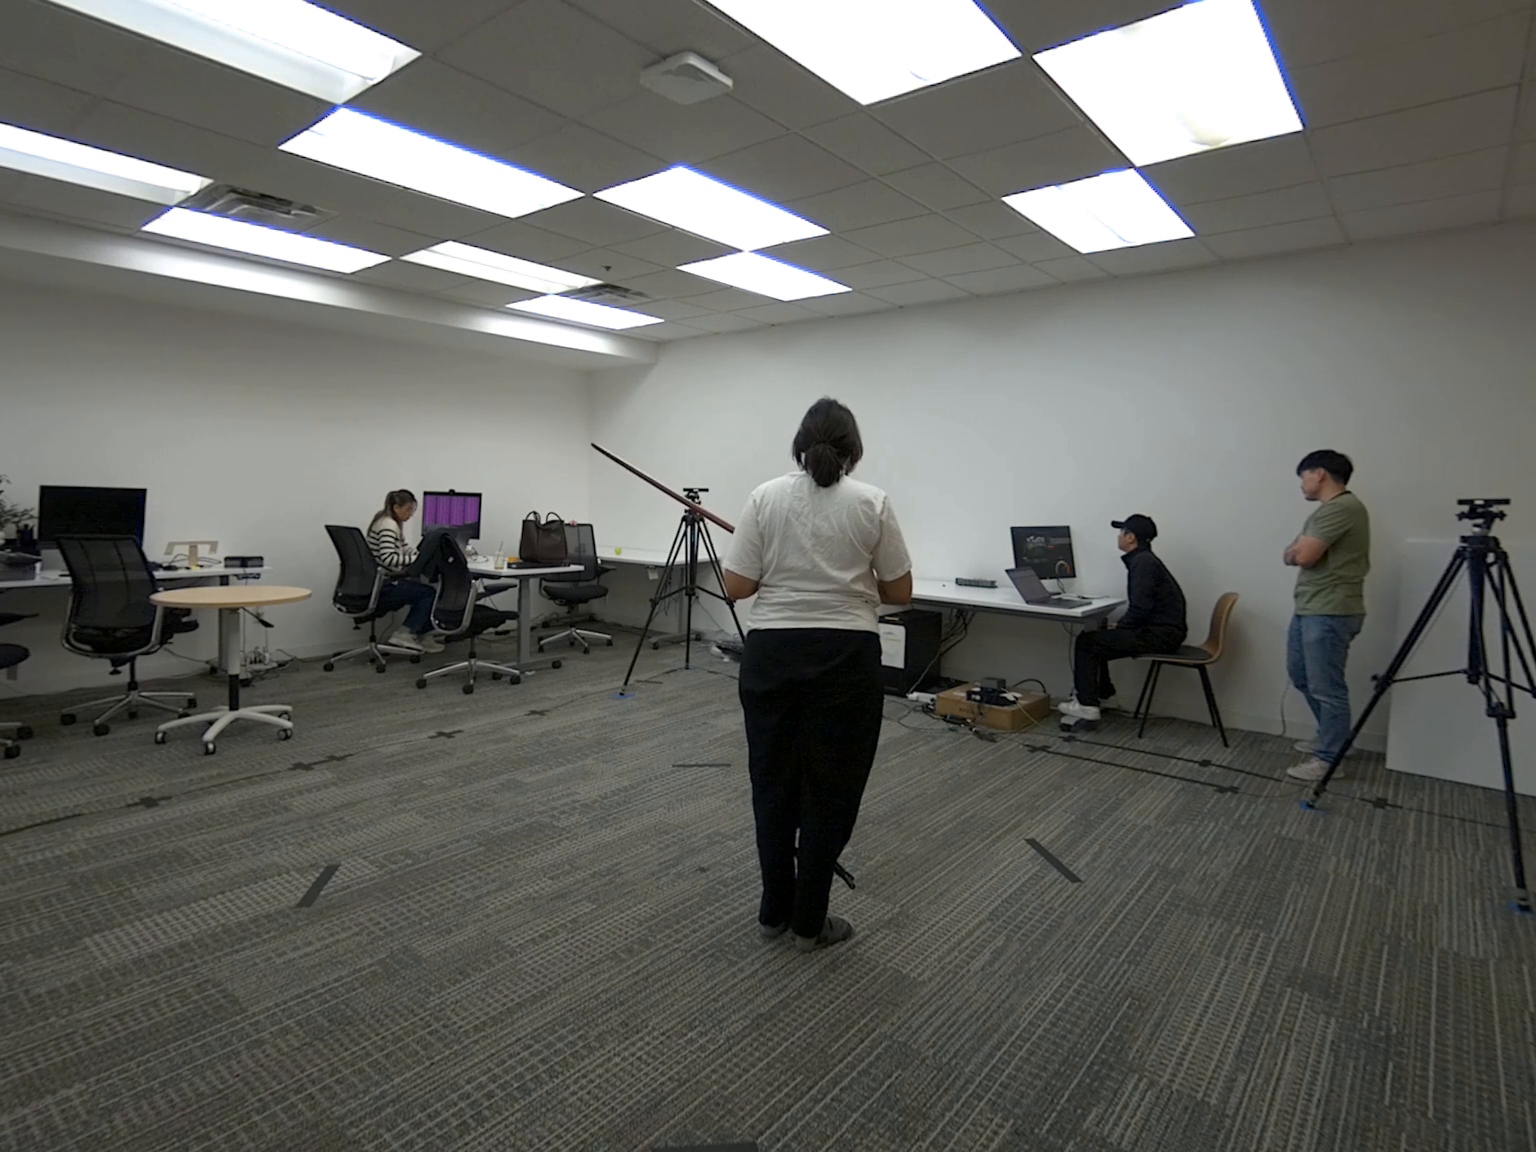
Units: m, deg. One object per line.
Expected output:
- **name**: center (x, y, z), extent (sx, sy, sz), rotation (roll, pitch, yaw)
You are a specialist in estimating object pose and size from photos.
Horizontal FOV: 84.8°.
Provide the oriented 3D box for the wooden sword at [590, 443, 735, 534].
- **wooden sword**: center (-0.263, -0.235, 3.018), extent (1.051, 0.050, 0.024), rotation (32, 50, 18)
